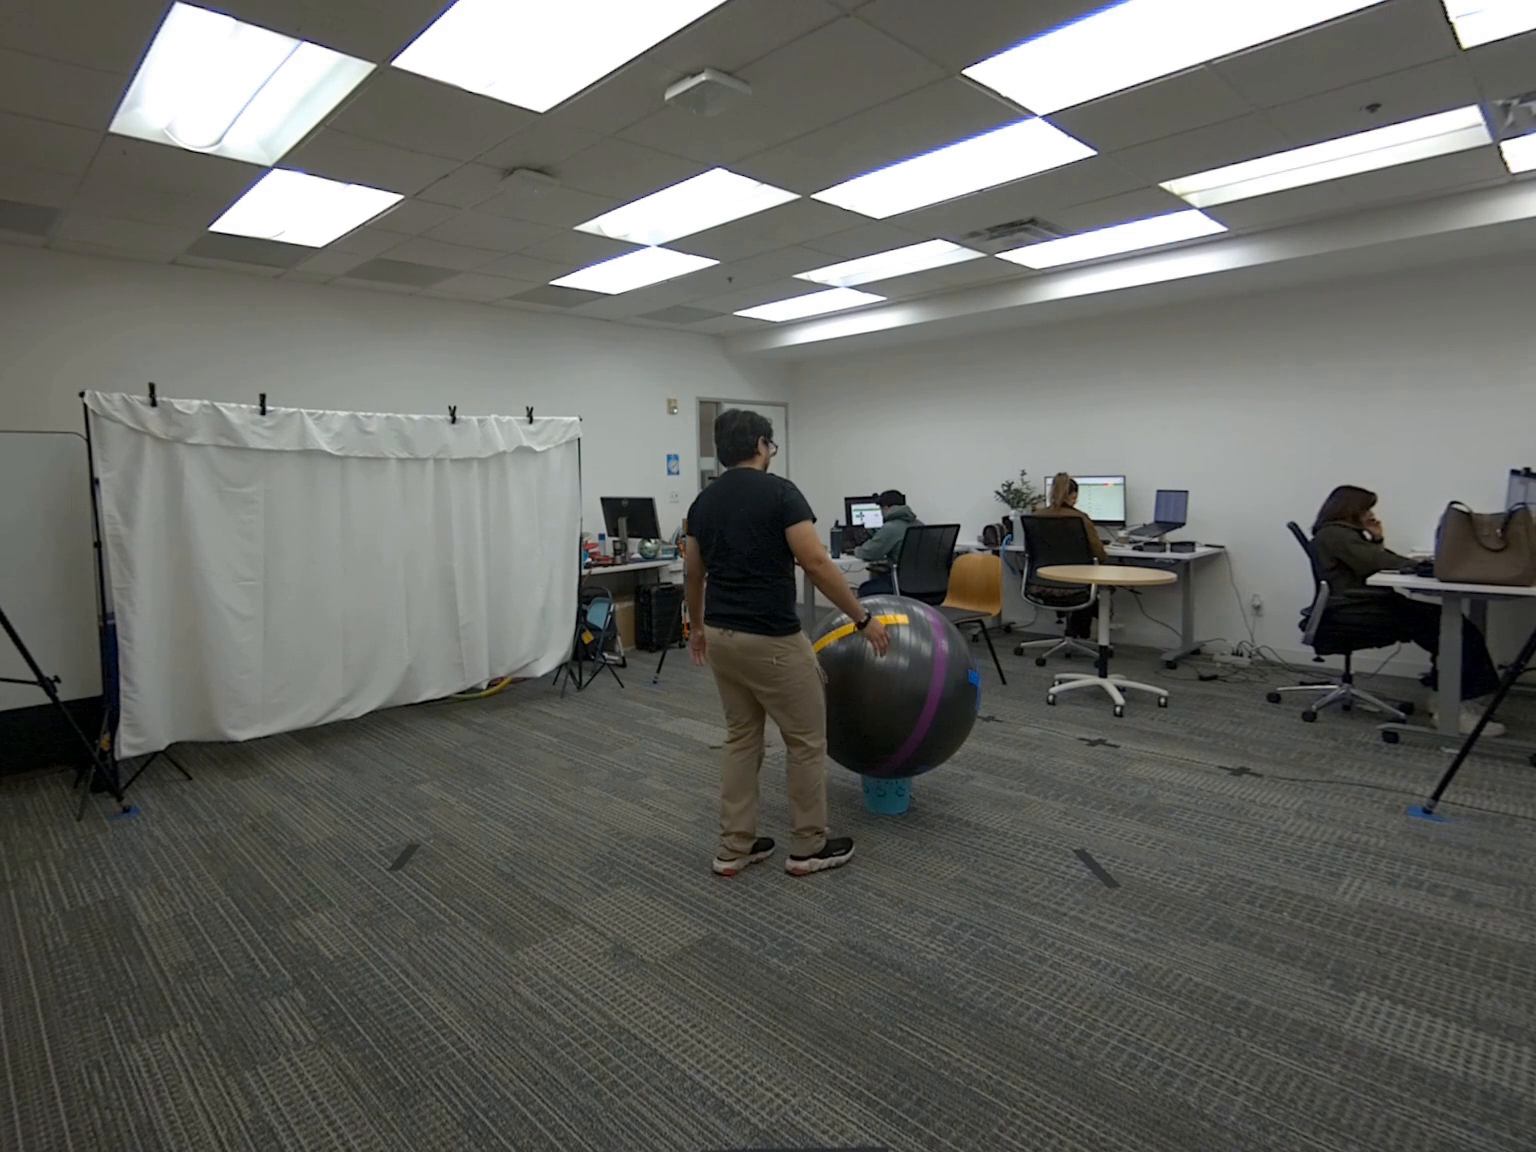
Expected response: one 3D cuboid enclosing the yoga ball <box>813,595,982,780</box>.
[{"bbox_3d":[0.494,0.462,3.578,0.757,0.755,0.762,-1,5,-2],"label":"yoga ball"}]
